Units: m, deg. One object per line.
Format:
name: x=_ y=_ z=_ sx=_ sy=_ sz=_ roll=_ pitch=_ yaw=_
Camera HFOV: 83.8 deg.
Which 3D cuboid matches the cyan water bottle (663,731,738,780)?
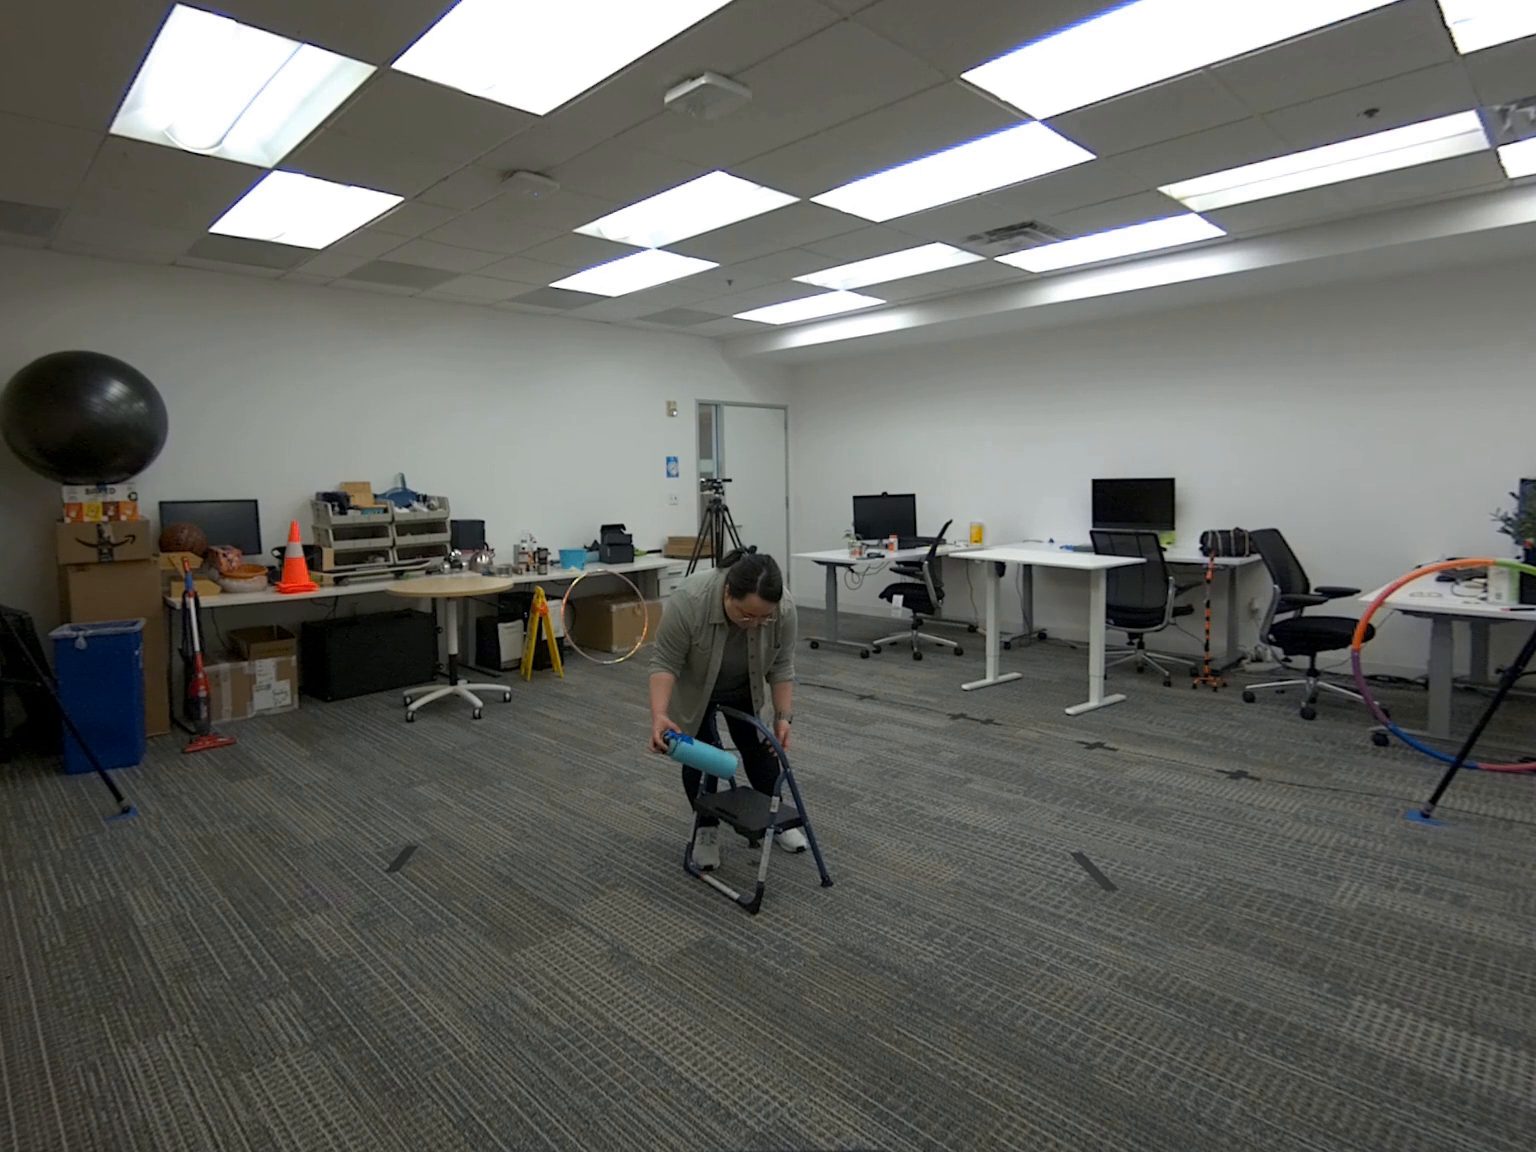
cyan water bottle: x=-0.240 y=0.597 z=2.880 sx=0.276 sy=0.092 sz=0.094 roll=26 pitch=-7 yaw=-22
